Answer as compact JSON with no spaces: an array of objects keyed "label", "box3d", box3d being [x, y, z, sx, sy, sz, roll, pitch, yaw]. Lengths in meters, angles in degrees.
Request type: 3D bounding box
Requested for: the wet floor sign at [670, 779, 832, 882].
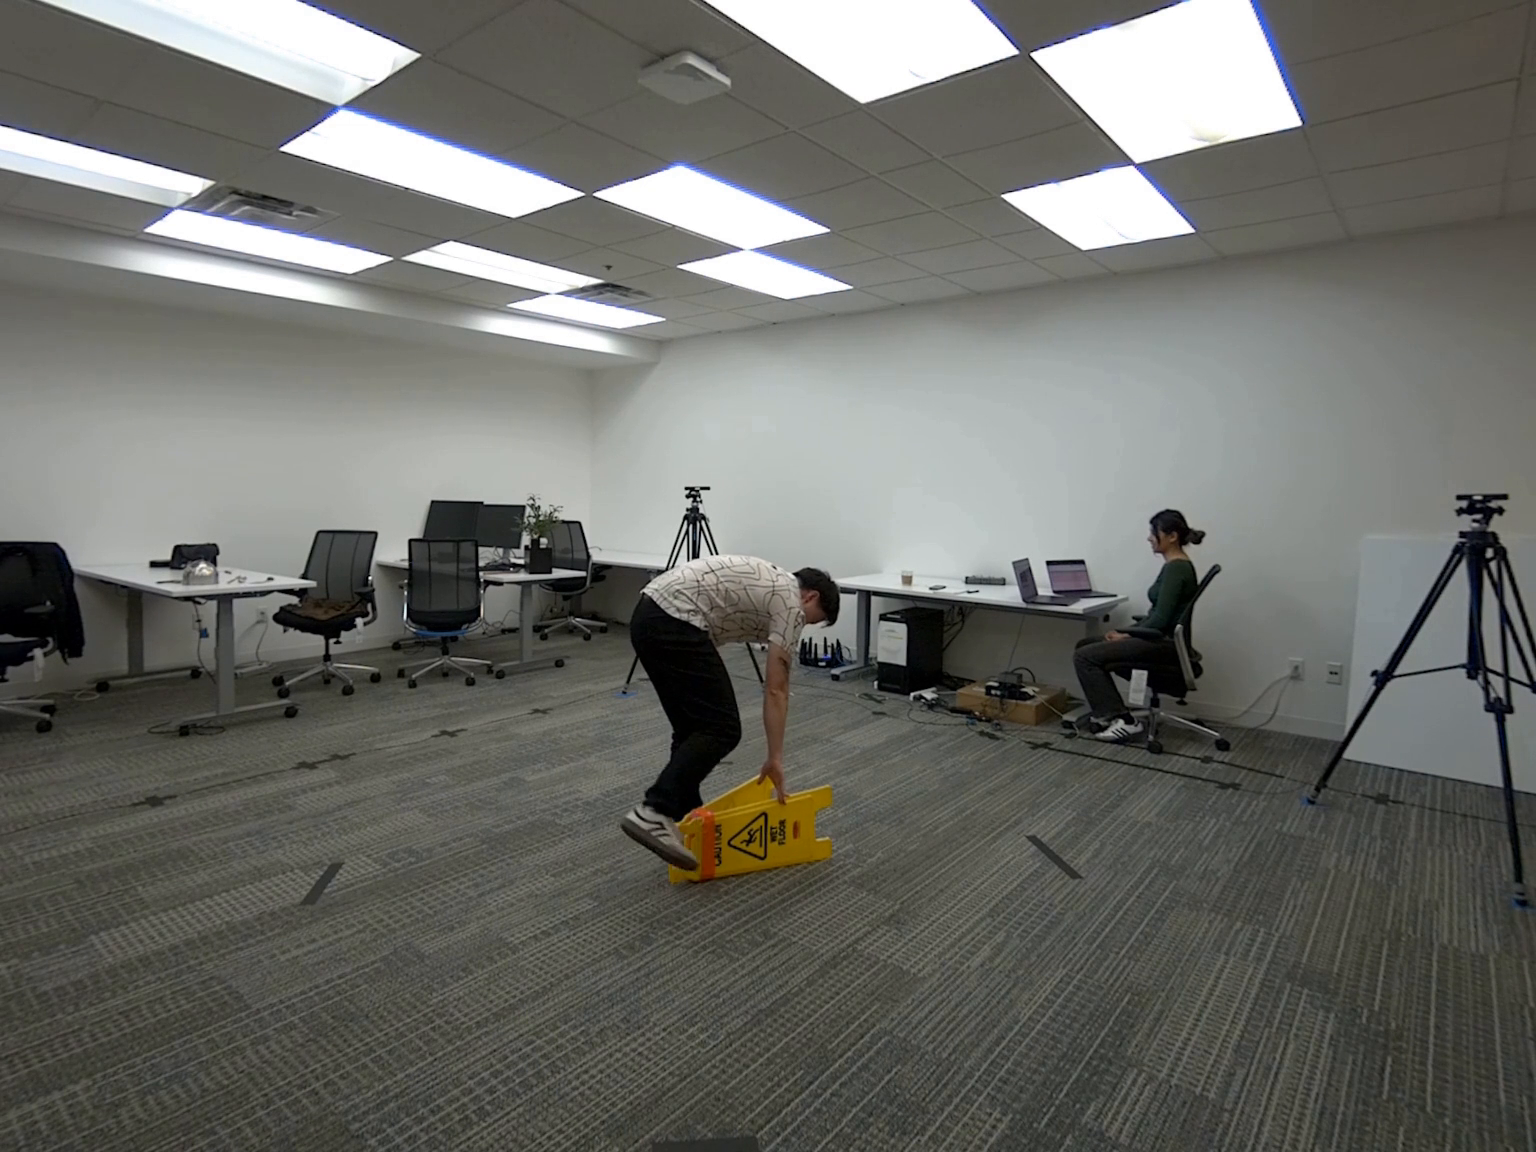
[{"label":"wet floor sign","box3d":[-0.105,0.936,3.128,0.628,0.281,0.299,-6,7,-39]}]
